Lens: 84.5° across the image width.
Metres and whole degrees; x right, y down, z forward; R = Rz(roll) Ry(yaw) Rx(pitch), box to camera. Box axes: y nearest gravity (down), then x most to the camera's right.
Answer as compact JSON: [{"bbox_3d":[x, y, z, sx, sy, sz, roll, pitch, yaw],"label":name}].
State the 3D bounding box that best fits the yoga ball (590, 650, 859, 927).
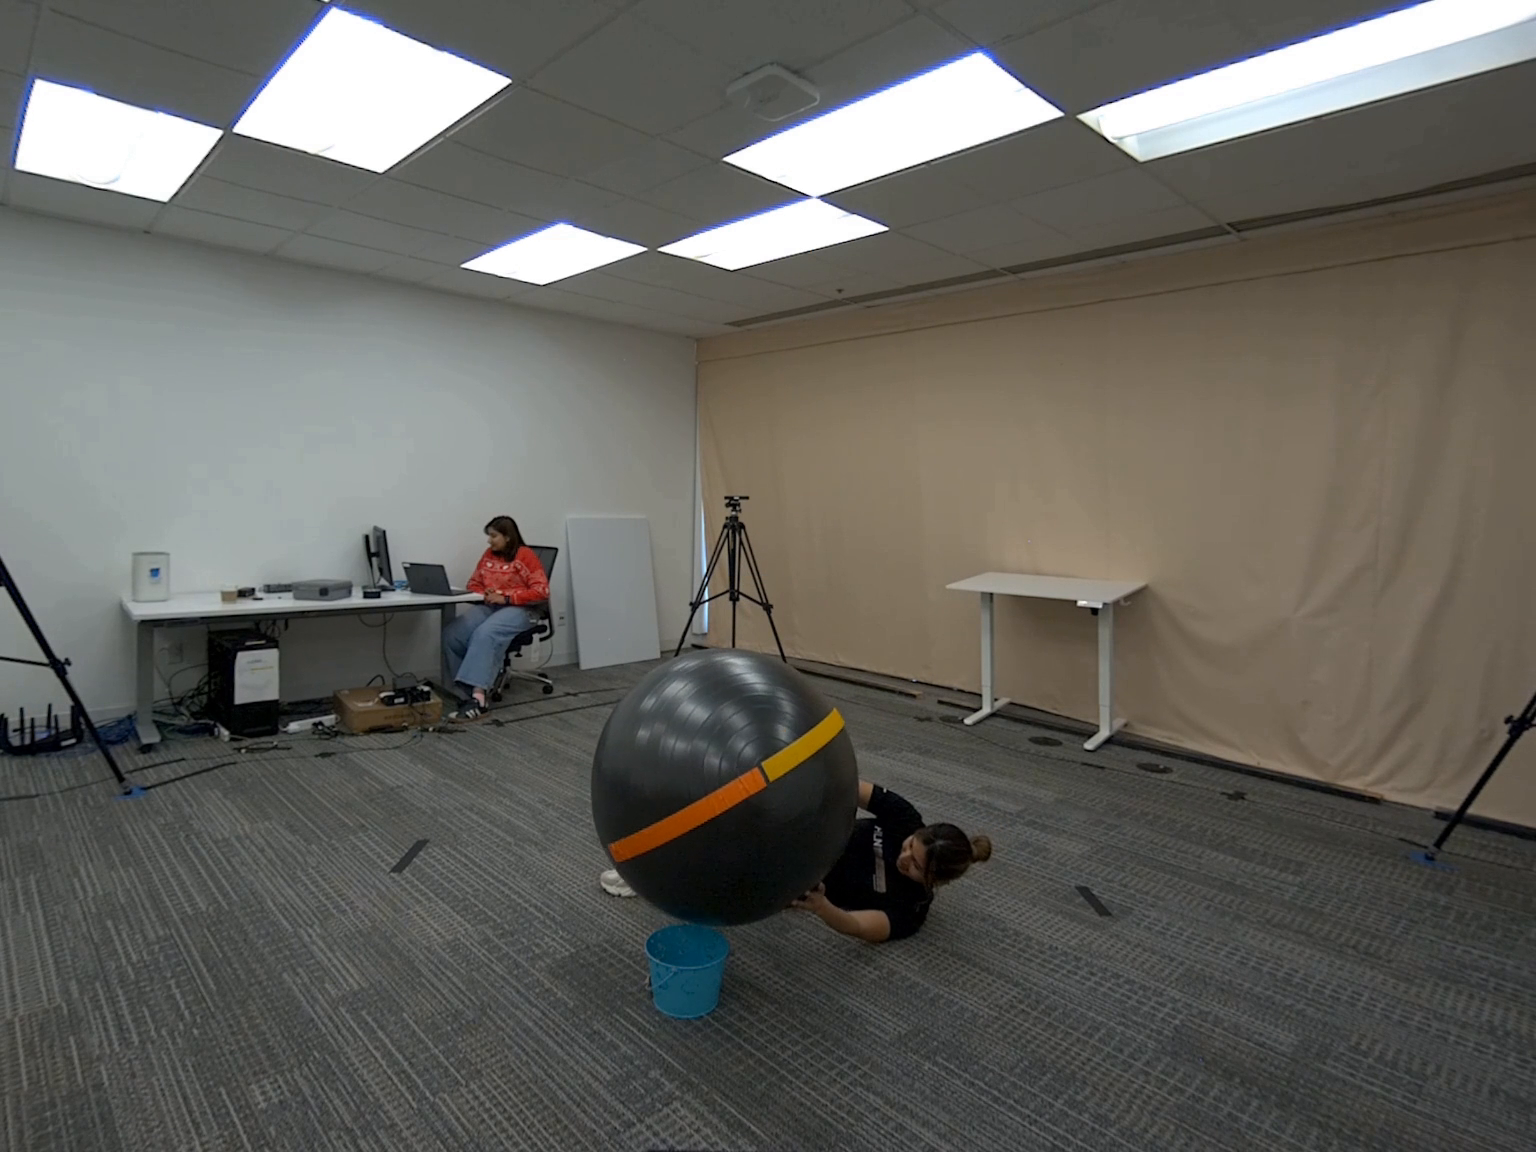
[{"bbox_3d":[-0.128,0.596,2.397,0.757,0.756,0.761,1,4,-1],"label":"yoga ball"}]
